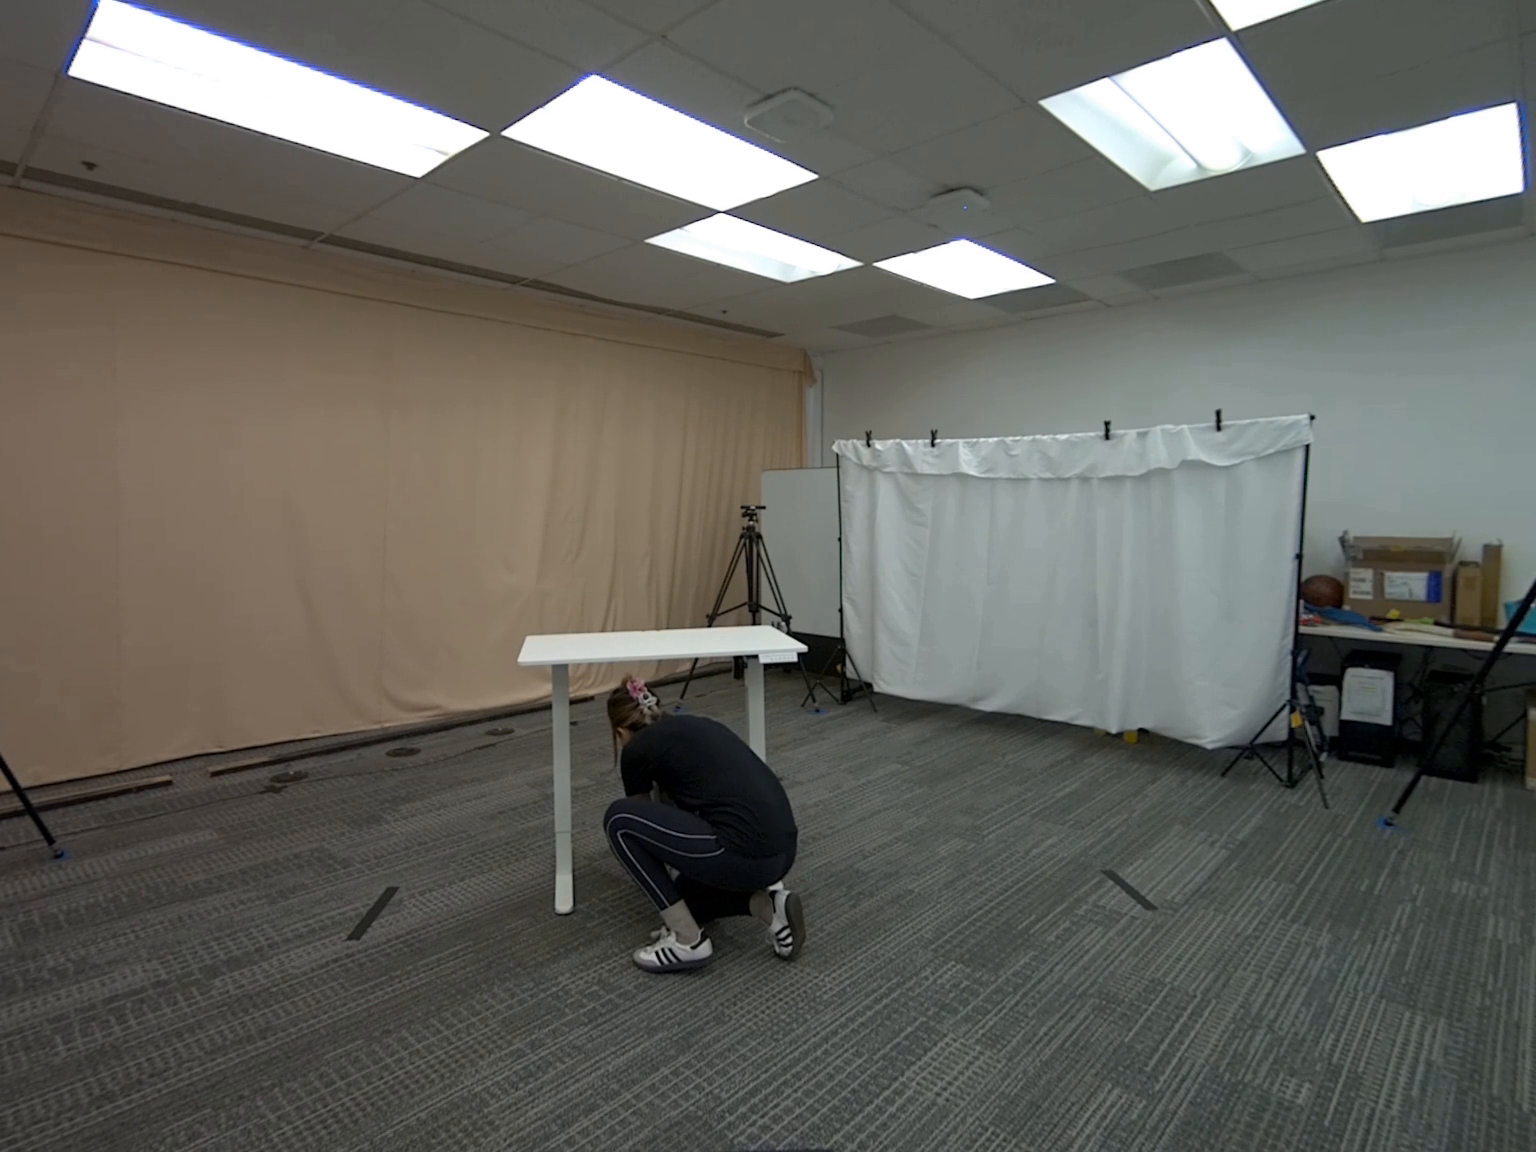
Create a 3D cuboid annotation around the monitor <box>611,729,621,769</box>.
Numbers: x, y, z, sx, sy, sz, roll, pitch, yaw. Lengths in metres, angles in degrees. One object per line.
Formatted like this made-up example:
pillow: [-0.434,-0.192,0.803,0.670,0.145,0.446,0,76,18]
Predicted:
monitor: [-0.378,0.851,3.170,0.181,0.523,0.555,-1,-1,-40]
